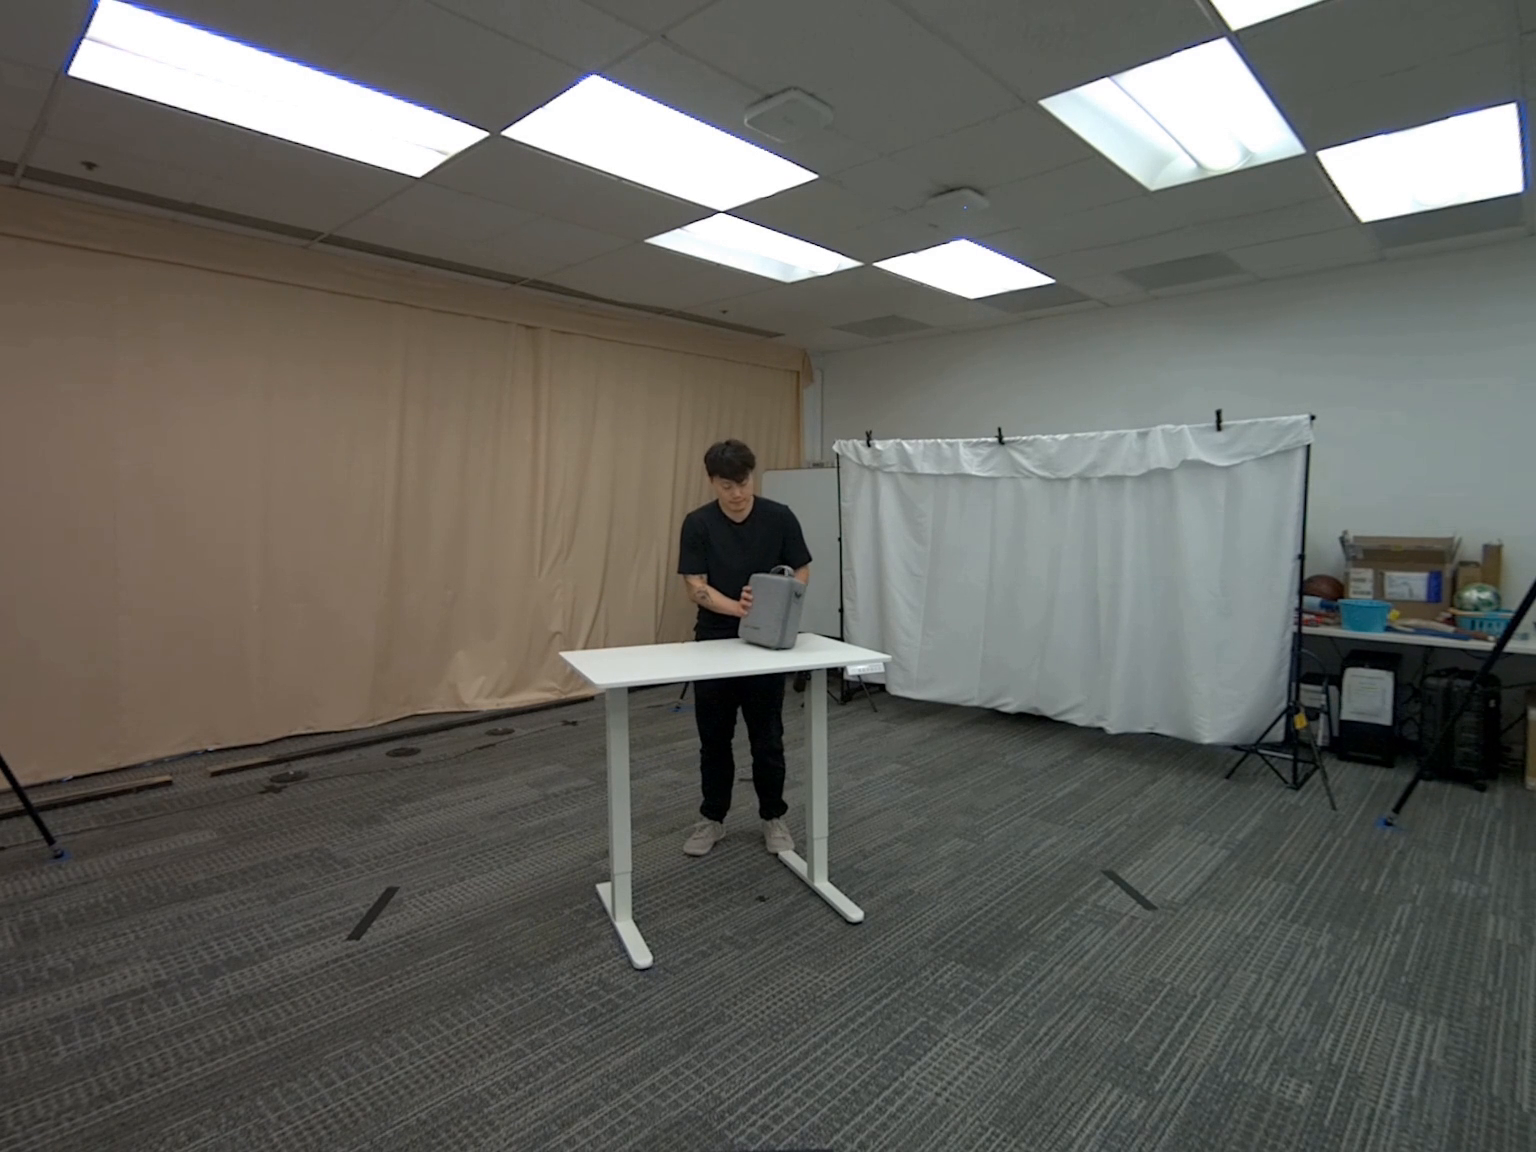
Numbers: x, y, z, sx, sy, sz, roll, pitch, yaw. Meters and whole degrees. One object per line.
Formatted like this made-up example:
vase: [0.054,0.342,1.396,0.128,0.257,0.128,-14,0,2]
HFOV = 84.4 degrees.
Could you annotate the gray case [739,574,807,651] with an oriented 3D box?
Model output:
gray case: [0.018,0.121,3.056,0.101,0.261,0.264,12,-3,-29]
